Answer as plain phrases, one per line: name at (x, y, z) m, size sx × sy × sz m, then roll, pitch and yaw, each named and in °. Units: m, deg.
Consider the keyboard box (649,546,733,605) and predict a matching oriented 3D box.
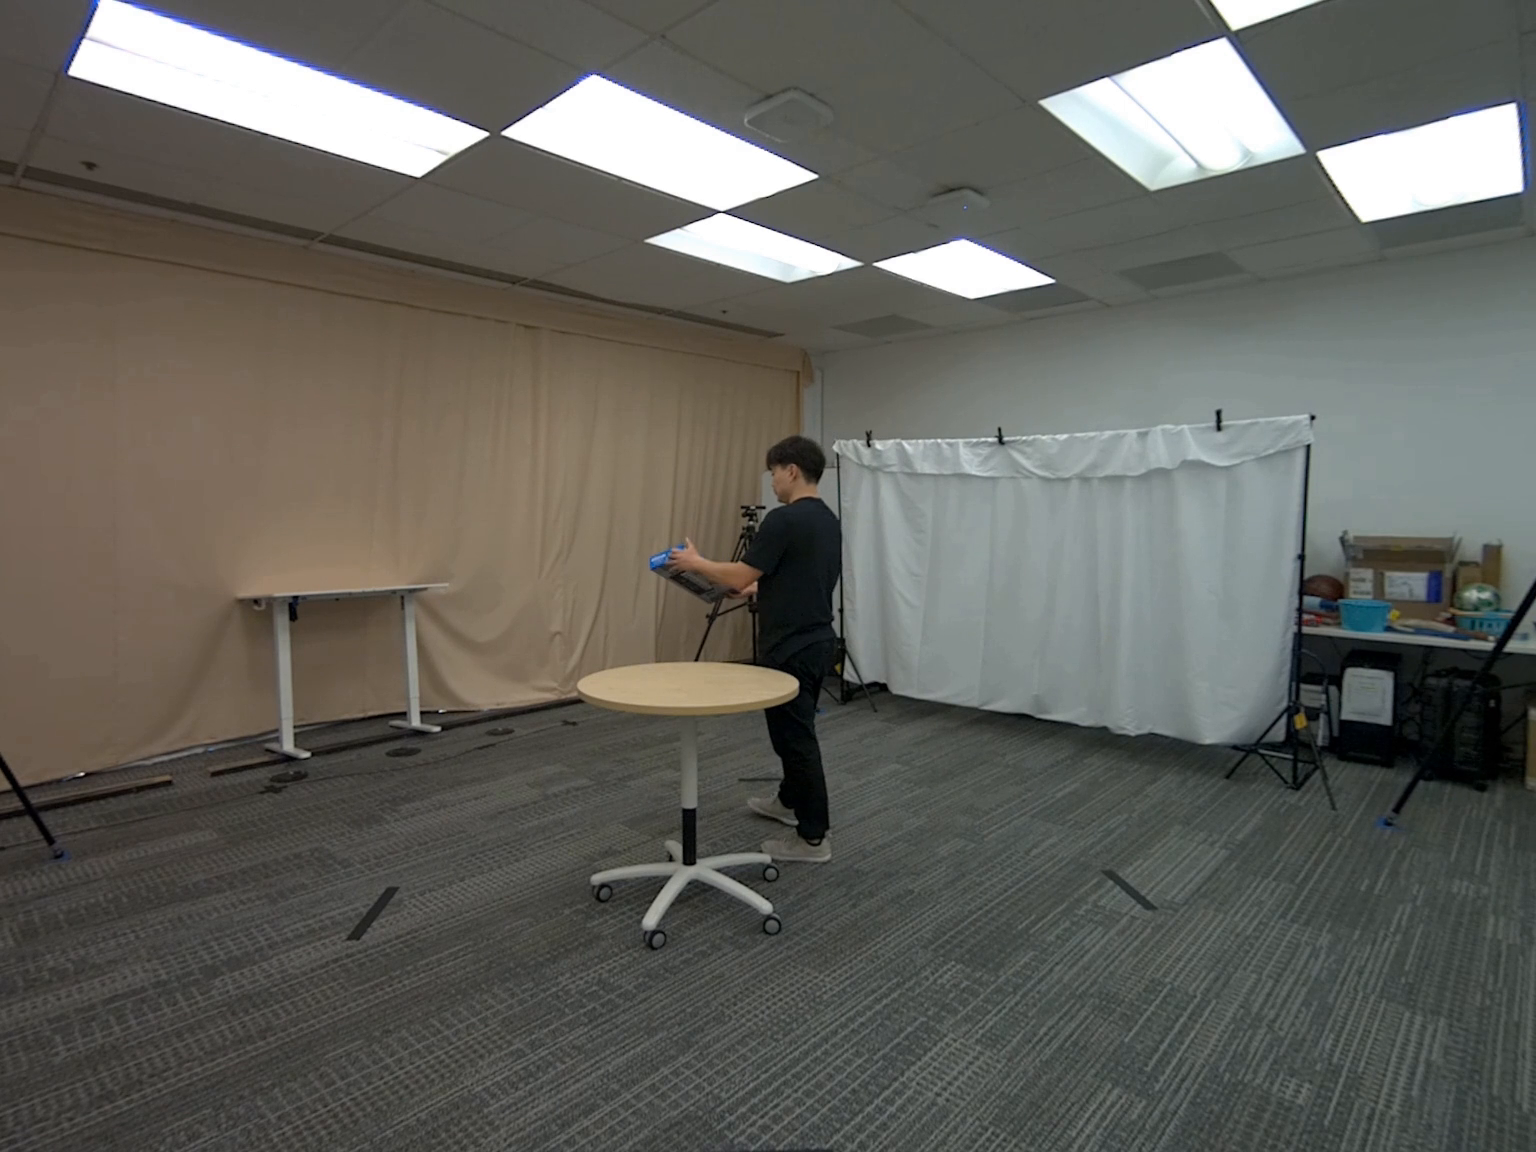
keyboard box at (-0.307, -0.002, 3.620) m, size 0.179 × 0.060 × 0.421 m, roll -20°, pitch -32°, yaw 27°
